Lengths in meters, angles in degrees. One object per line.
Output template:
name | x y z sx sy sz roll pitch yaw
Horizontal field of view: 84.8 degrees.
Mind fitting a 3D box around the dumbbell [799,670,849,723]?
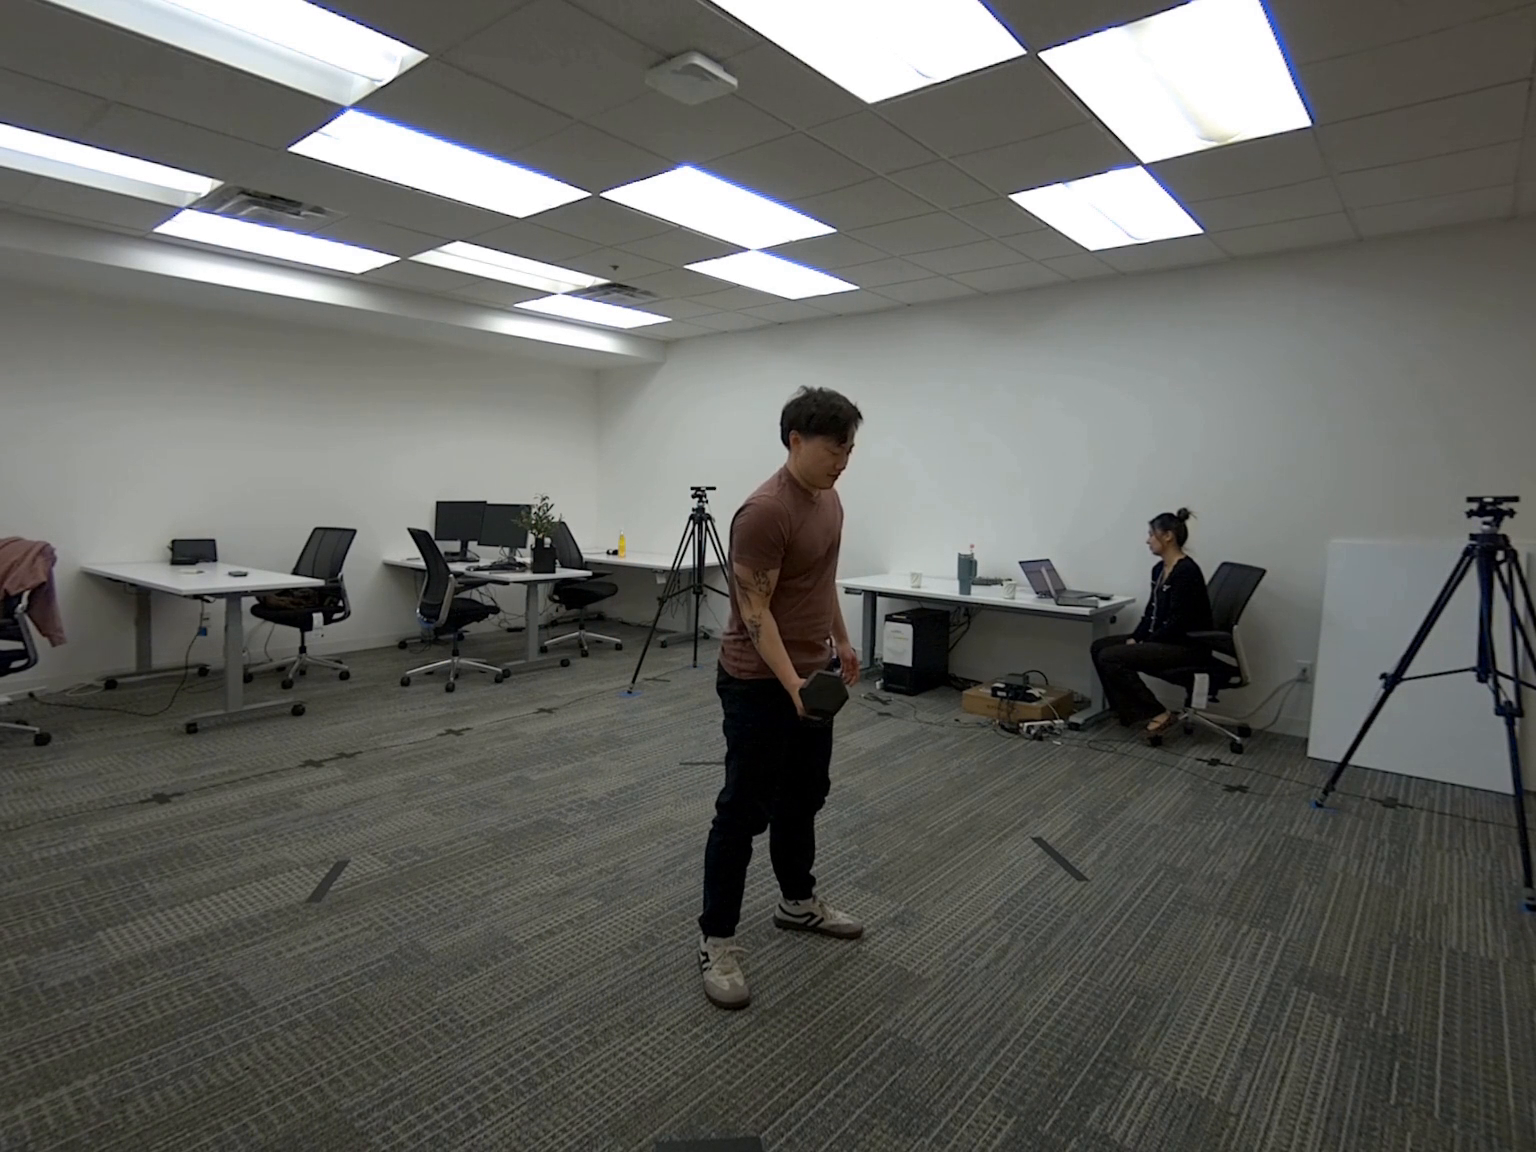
dumbbell | 0.132 0.313 2.208 0.123 0.110 0.290 8 -14 -1
